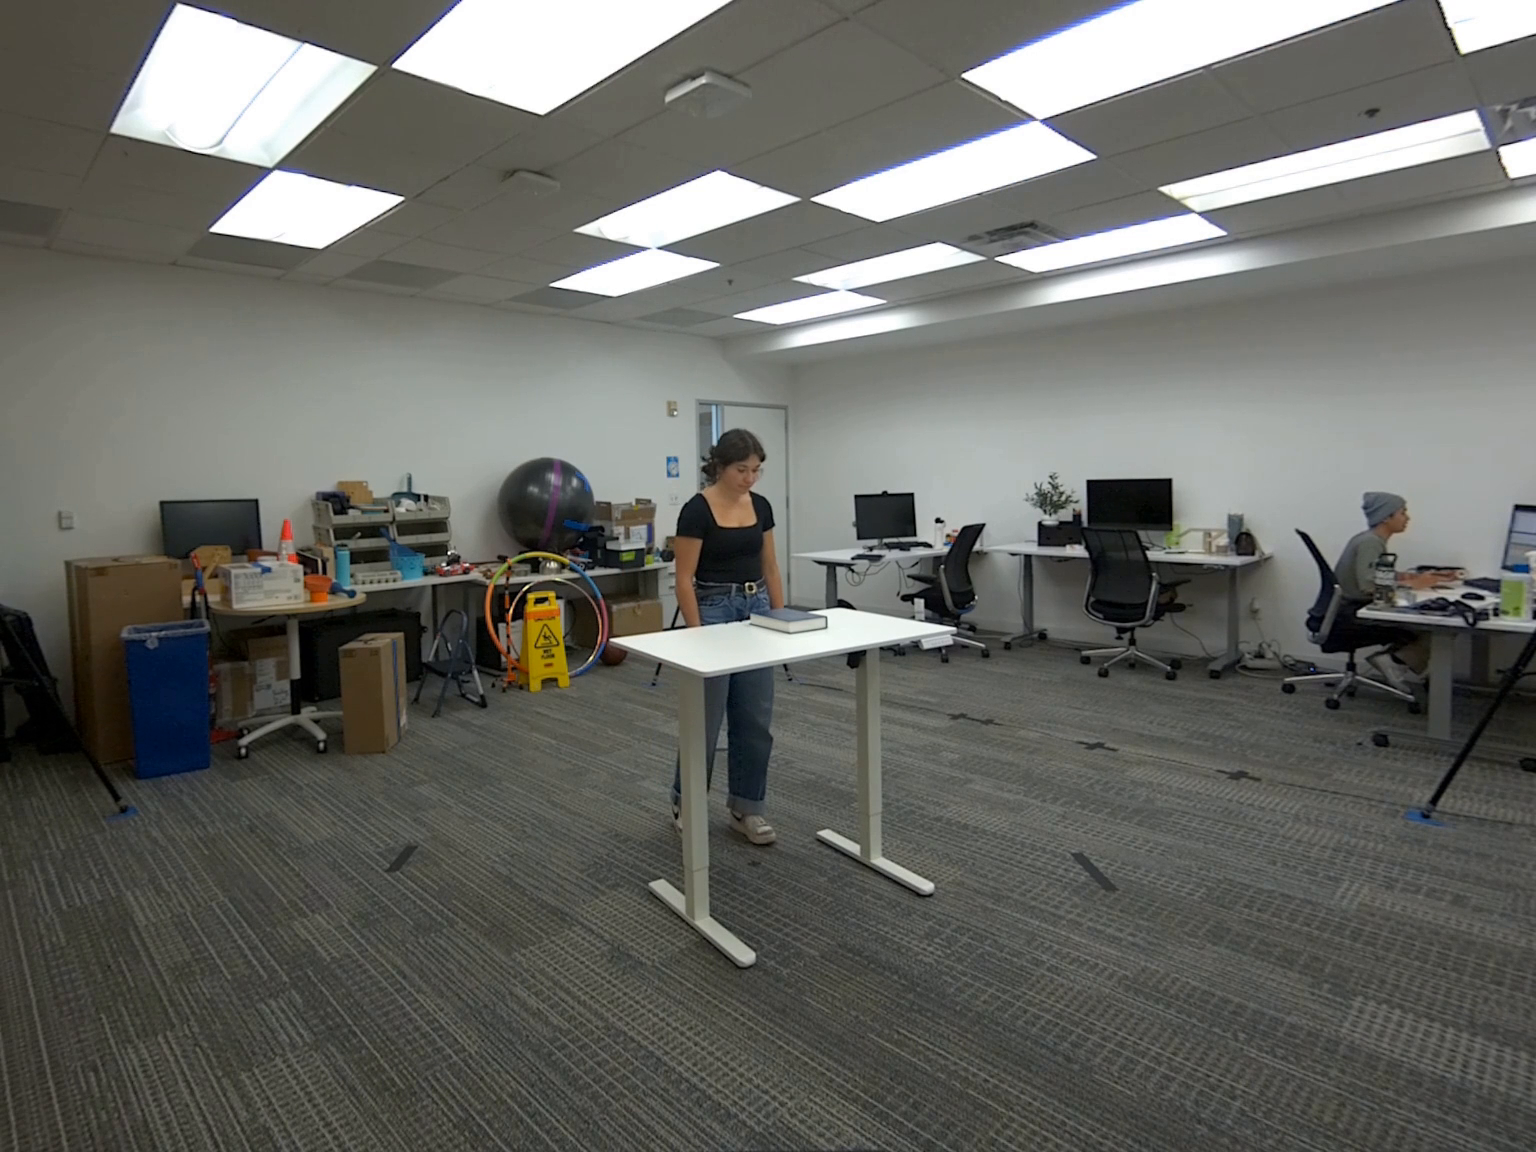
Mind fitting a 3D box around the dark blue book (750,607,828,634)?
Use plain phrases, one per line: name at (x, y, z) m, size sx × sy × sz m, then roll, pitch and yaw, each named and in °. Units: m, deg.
dark blue book at (0.072, 0.160, 2.967) m, size 0.159 × 0.045 × 0.252 m, roll -5°, pitch 7°, yaw -34°
